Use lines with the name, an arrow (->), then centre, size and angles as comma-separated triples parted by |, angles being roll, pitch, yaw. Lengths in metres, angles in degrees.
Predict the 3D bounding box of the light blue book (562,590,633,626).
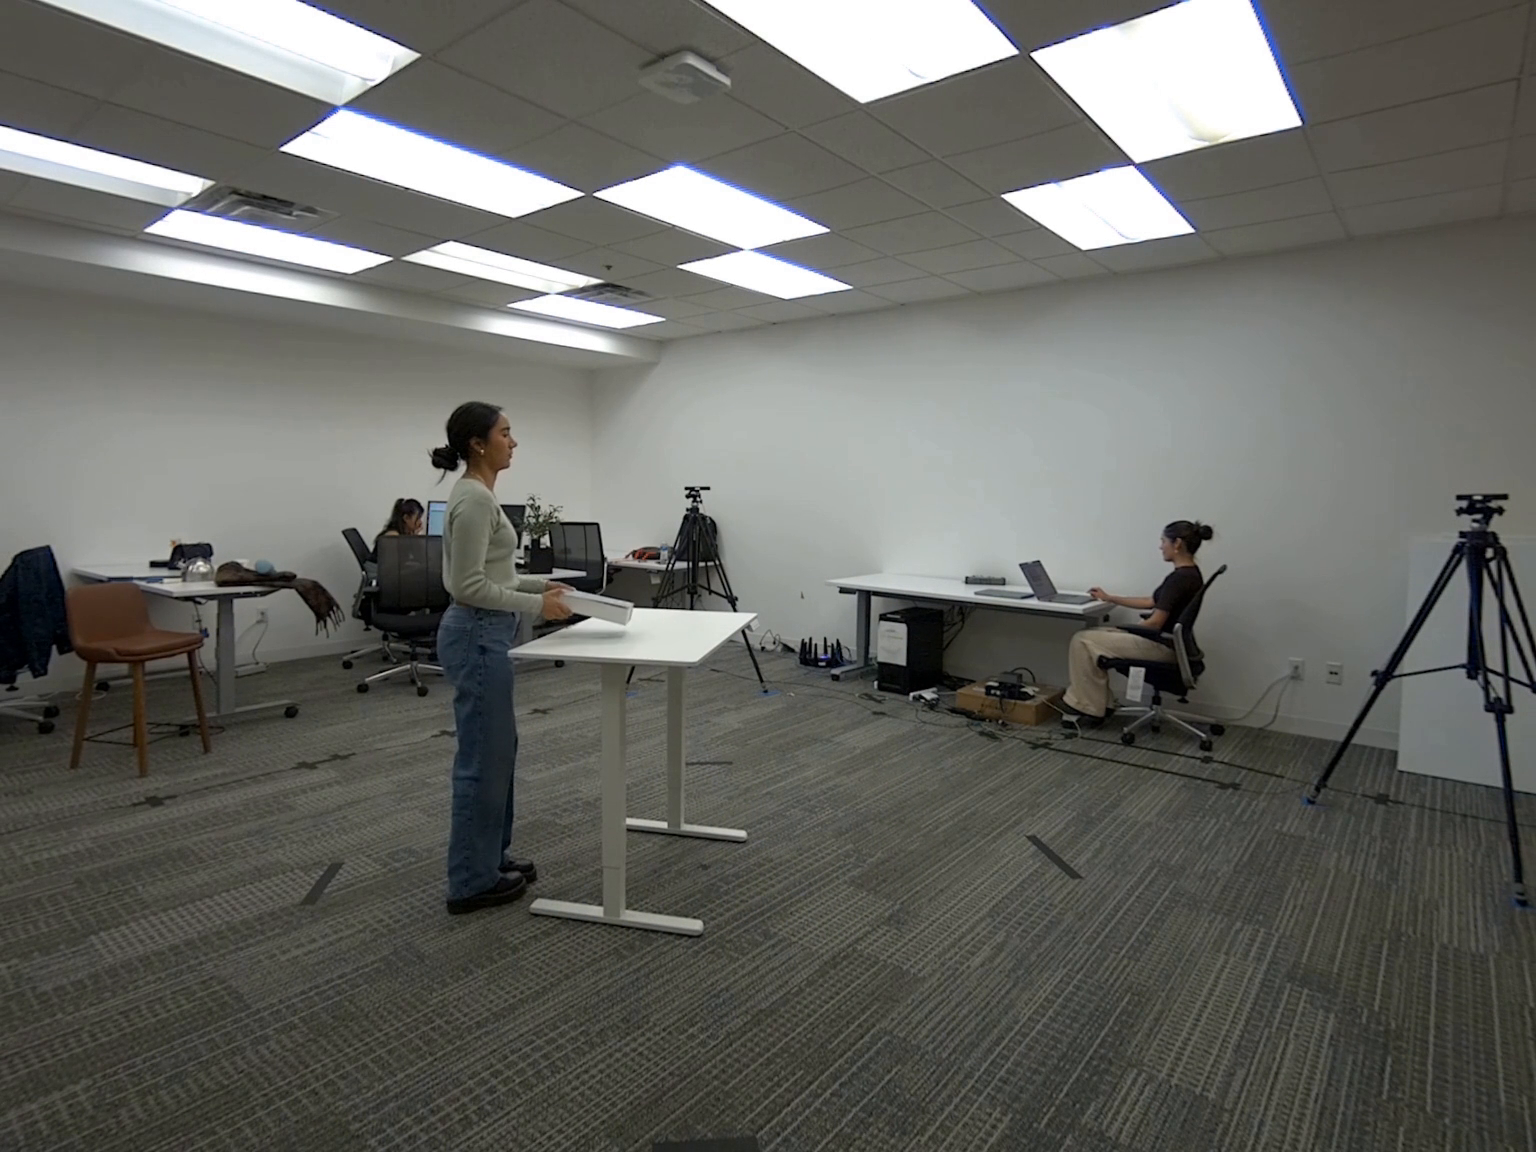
light blue book -> -0.617, 0.088, 2.911 | 0.259, 0.059, 0.193 | 12, 2, -6
